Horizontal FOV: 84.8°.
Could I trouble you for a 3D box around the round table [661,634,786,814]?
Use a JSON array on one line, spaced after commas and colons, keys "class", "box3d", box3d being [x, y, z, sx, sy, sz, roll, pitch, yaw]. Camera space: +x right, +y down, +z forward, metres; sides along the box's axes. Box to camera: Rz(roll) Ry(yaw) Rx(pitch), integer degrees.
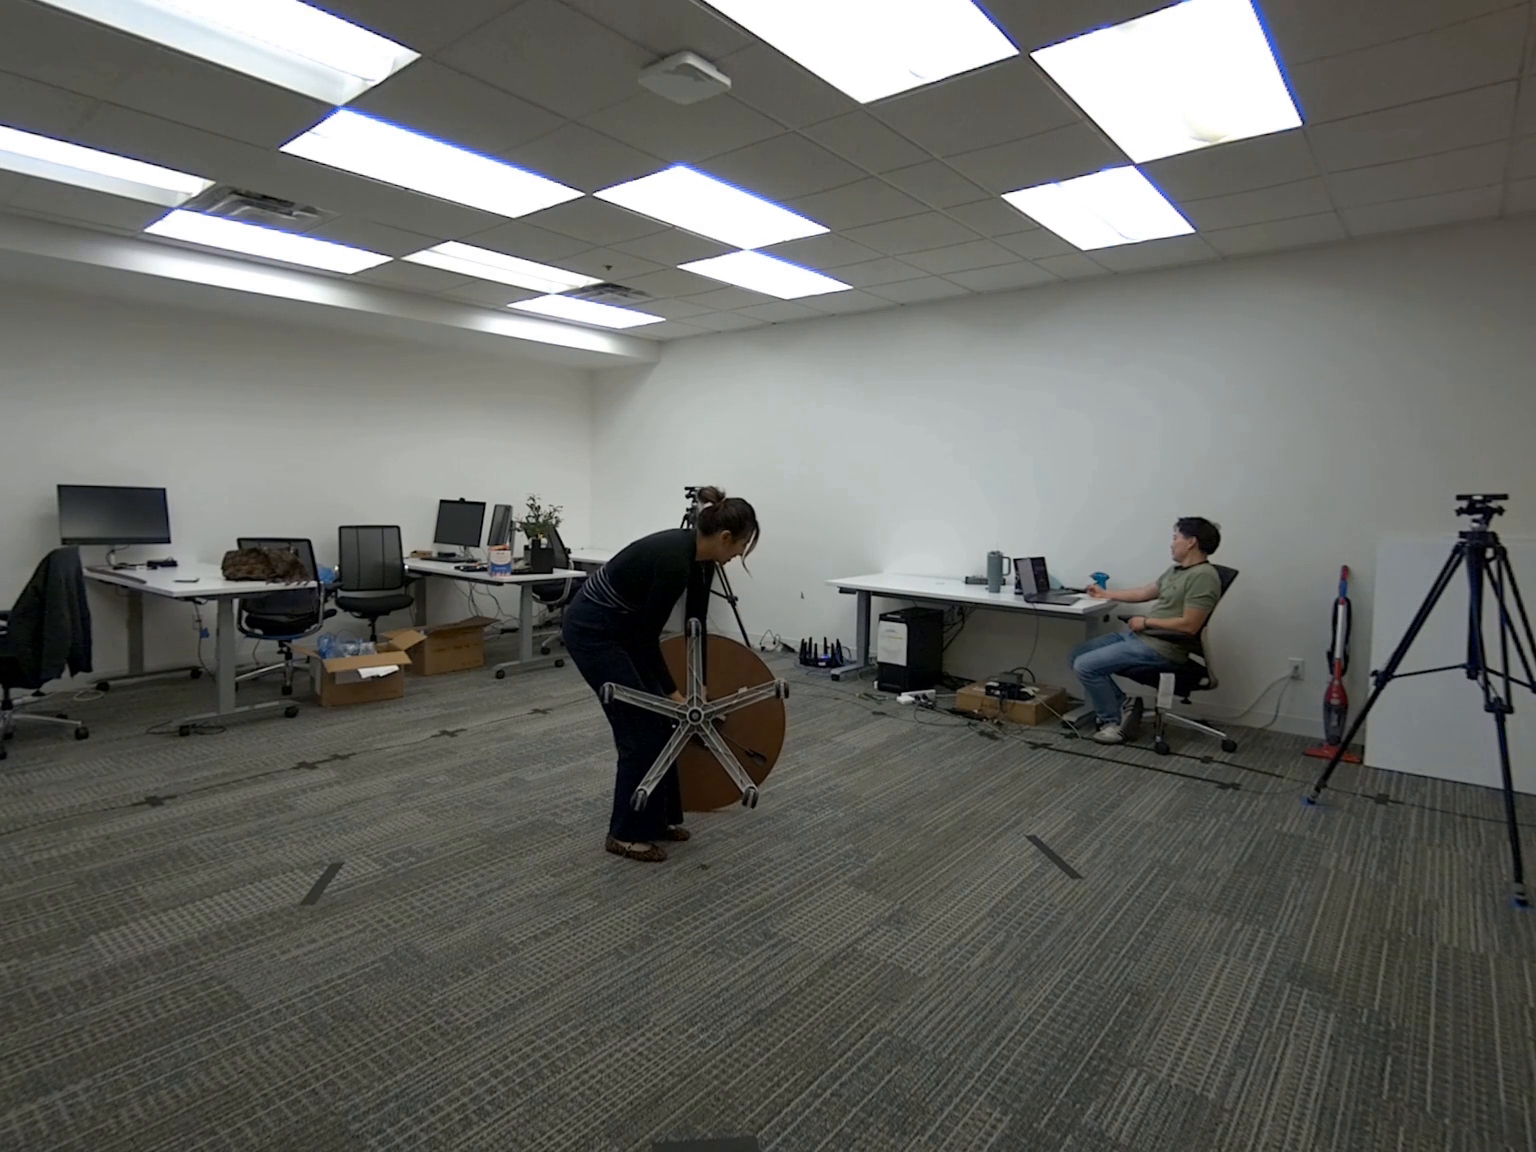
[{"class": "round table", "box3d": [-0.291, 0.566, 3.371, 0.764, 0.773, 0.785, 1, -11, -1]}]
